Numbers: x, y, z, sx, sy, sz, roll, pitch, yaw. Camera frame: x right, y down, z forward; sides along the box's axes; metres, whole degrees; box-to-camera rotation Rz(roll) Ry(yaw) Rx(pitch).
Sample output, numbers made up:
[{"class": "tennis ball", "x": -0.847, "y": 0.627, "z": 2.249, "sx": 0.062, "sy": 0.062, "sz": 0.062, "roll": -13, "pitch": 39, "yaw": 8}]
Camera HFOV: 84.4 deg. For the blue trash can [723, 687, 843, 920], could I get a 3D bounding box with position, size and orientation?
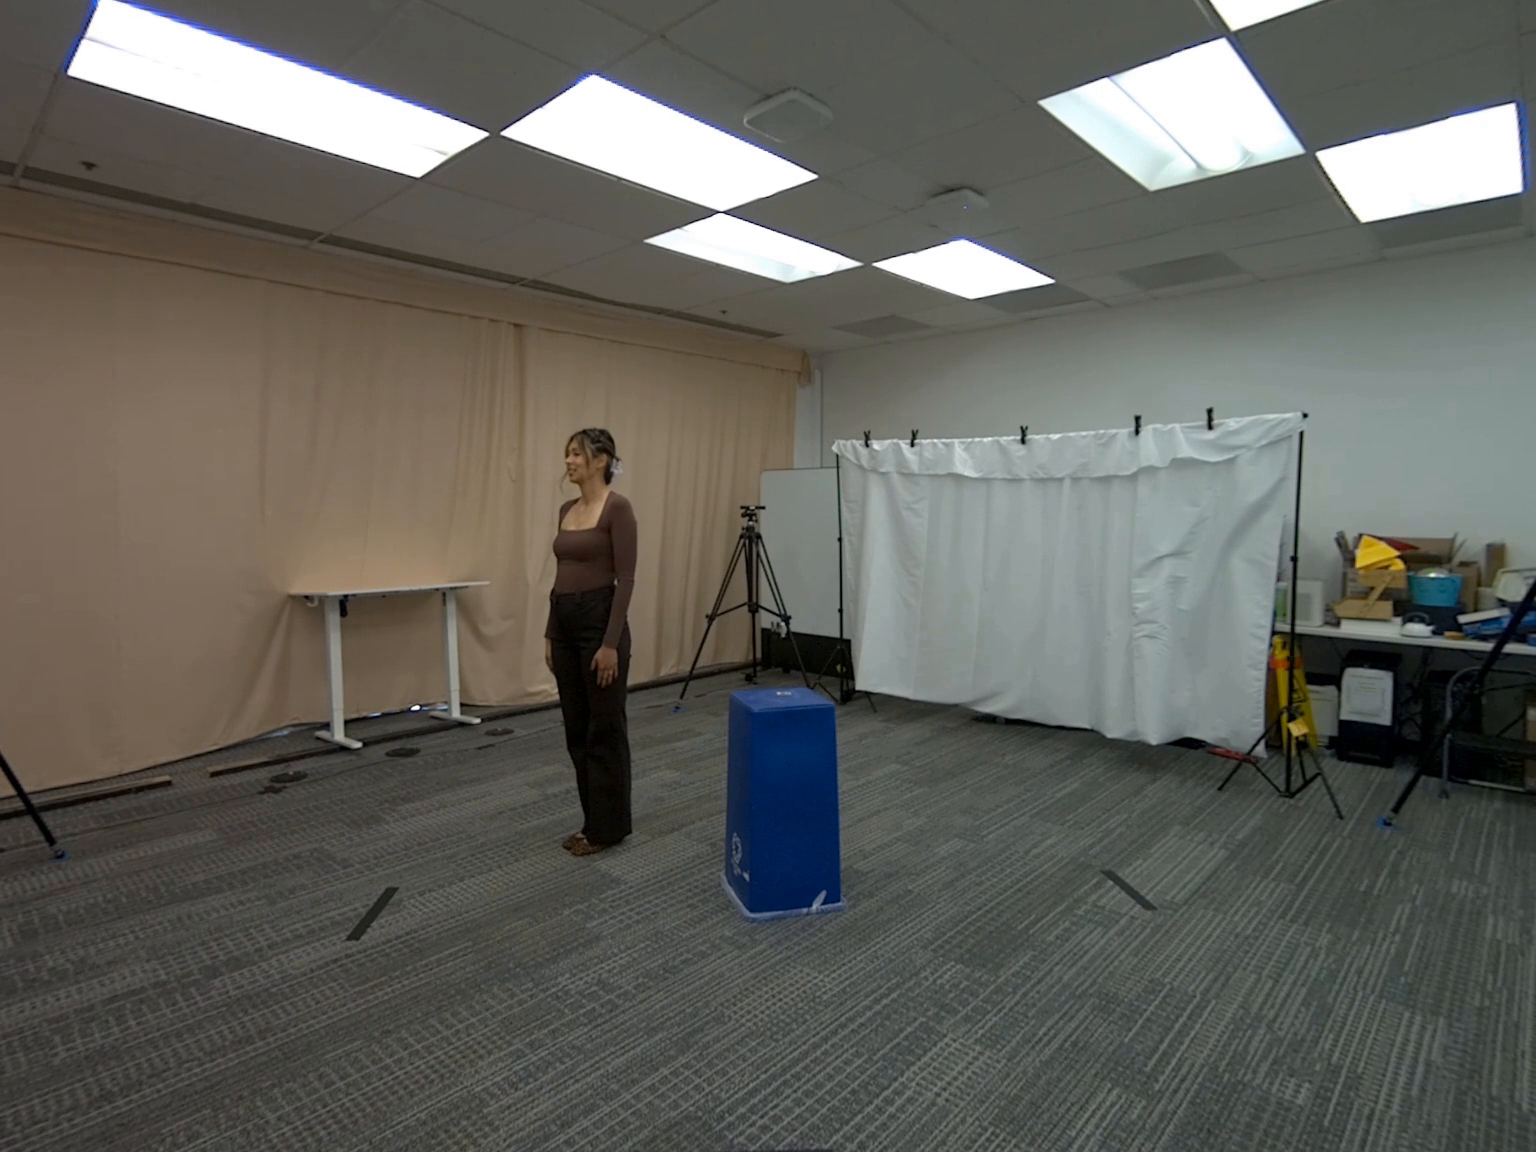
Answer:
[{"class": "blue trash can", "x": 0.051, "y": 0.786, "z": 3.019, "sx": 0.372, "sy": 0.712, "sz": 0.381, "roll": -1, "pitch": 2, "yaw": -17}]
